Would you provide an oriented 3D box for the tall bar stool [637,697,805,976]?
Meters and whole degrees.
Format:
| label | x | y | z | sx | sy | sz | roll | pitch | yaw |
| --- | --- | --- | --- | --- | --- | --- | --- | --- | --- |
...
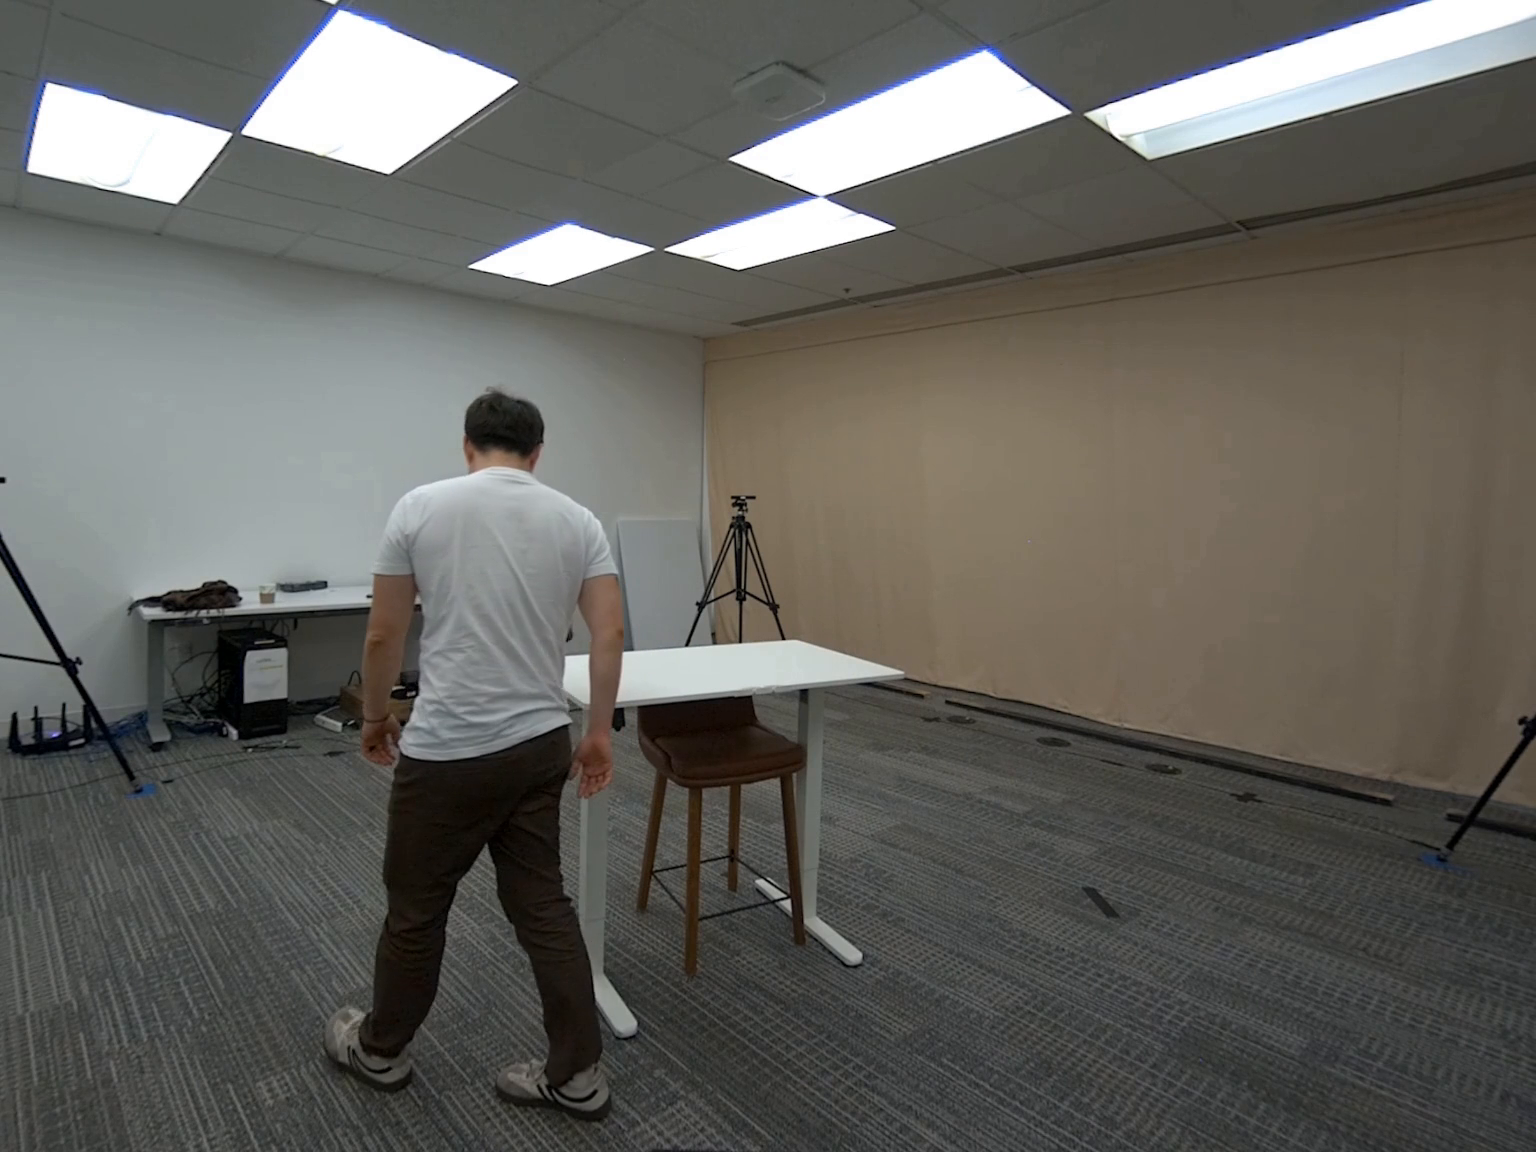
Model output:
| label | x | y | z | sx | sy | sz | roll | pitch | yaw |
| --- | --- | --- | --- | --- | --- | --- | --- | --- | --- |
| tall bar stool | -0.168 | 0.706 | 2.705 | 0.447 | 0.889 | 0.477 | -1 | 2 | -29 |
